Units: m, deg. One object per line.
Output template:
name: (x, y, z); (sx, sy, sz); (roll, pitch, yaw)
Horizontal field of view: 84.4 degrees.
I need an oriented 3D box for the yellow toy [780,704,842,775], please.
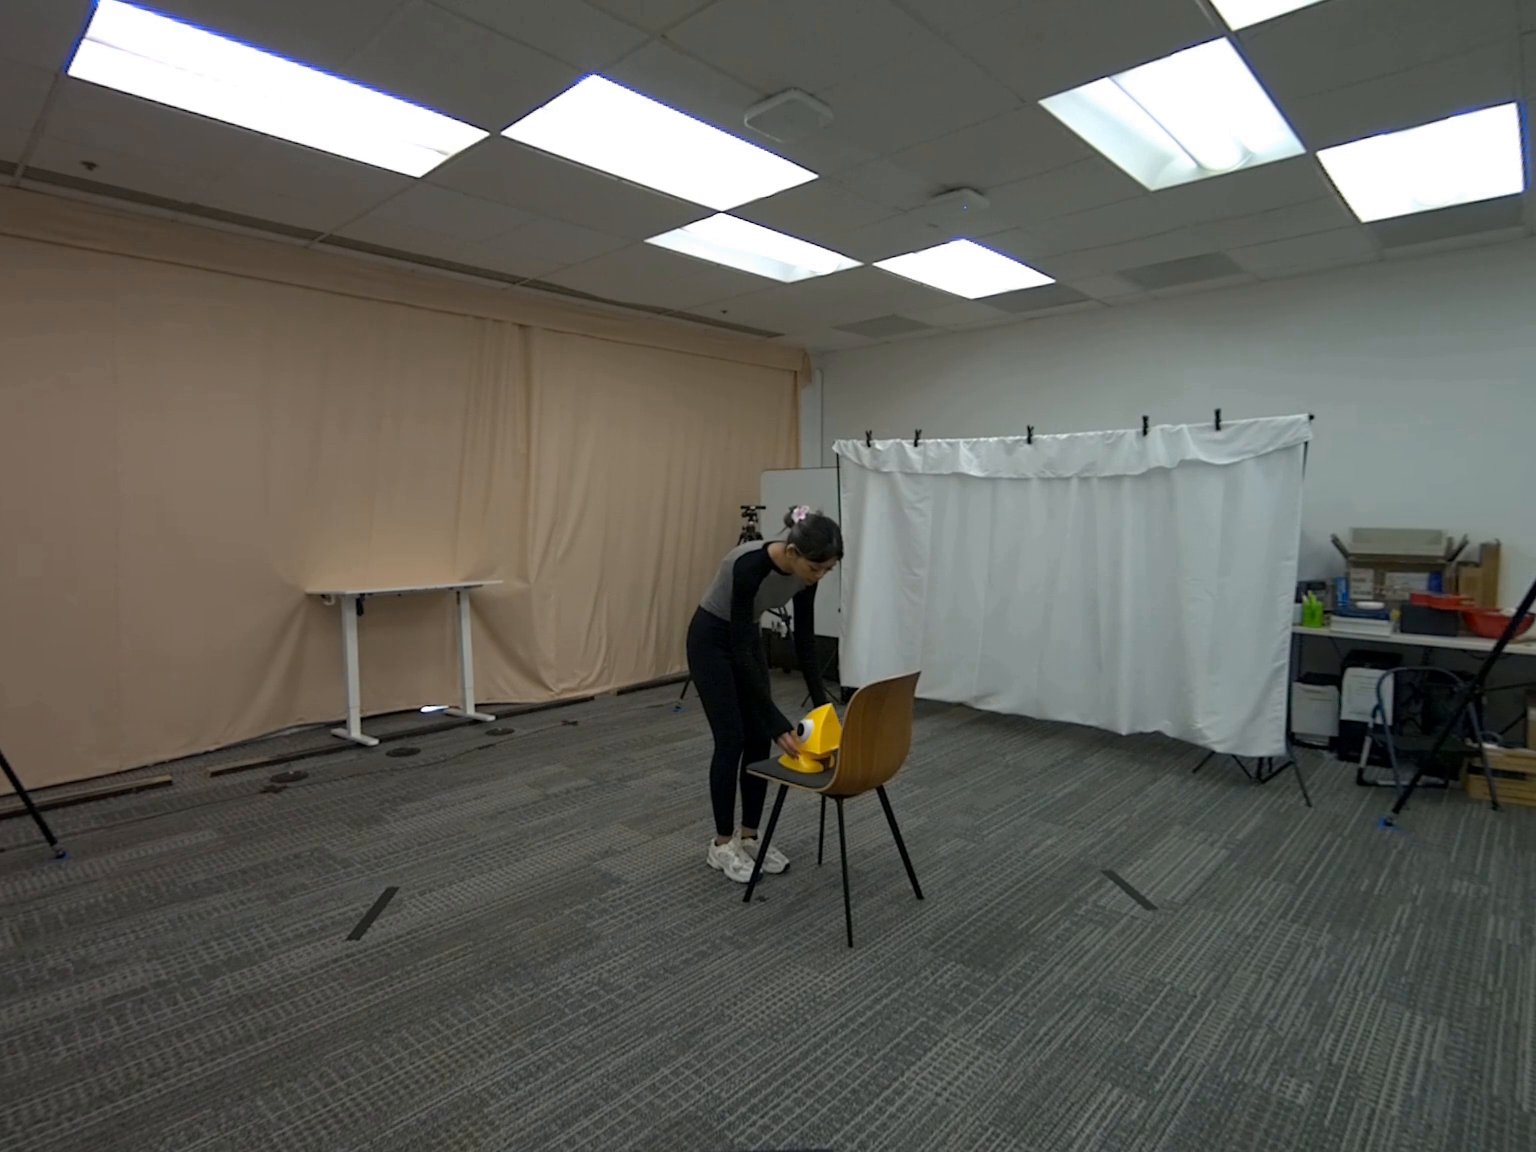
yellow toy: (0.162, 0.550, 2.957); (0.199, 0.230, 0.199); (9, 6, 35)
